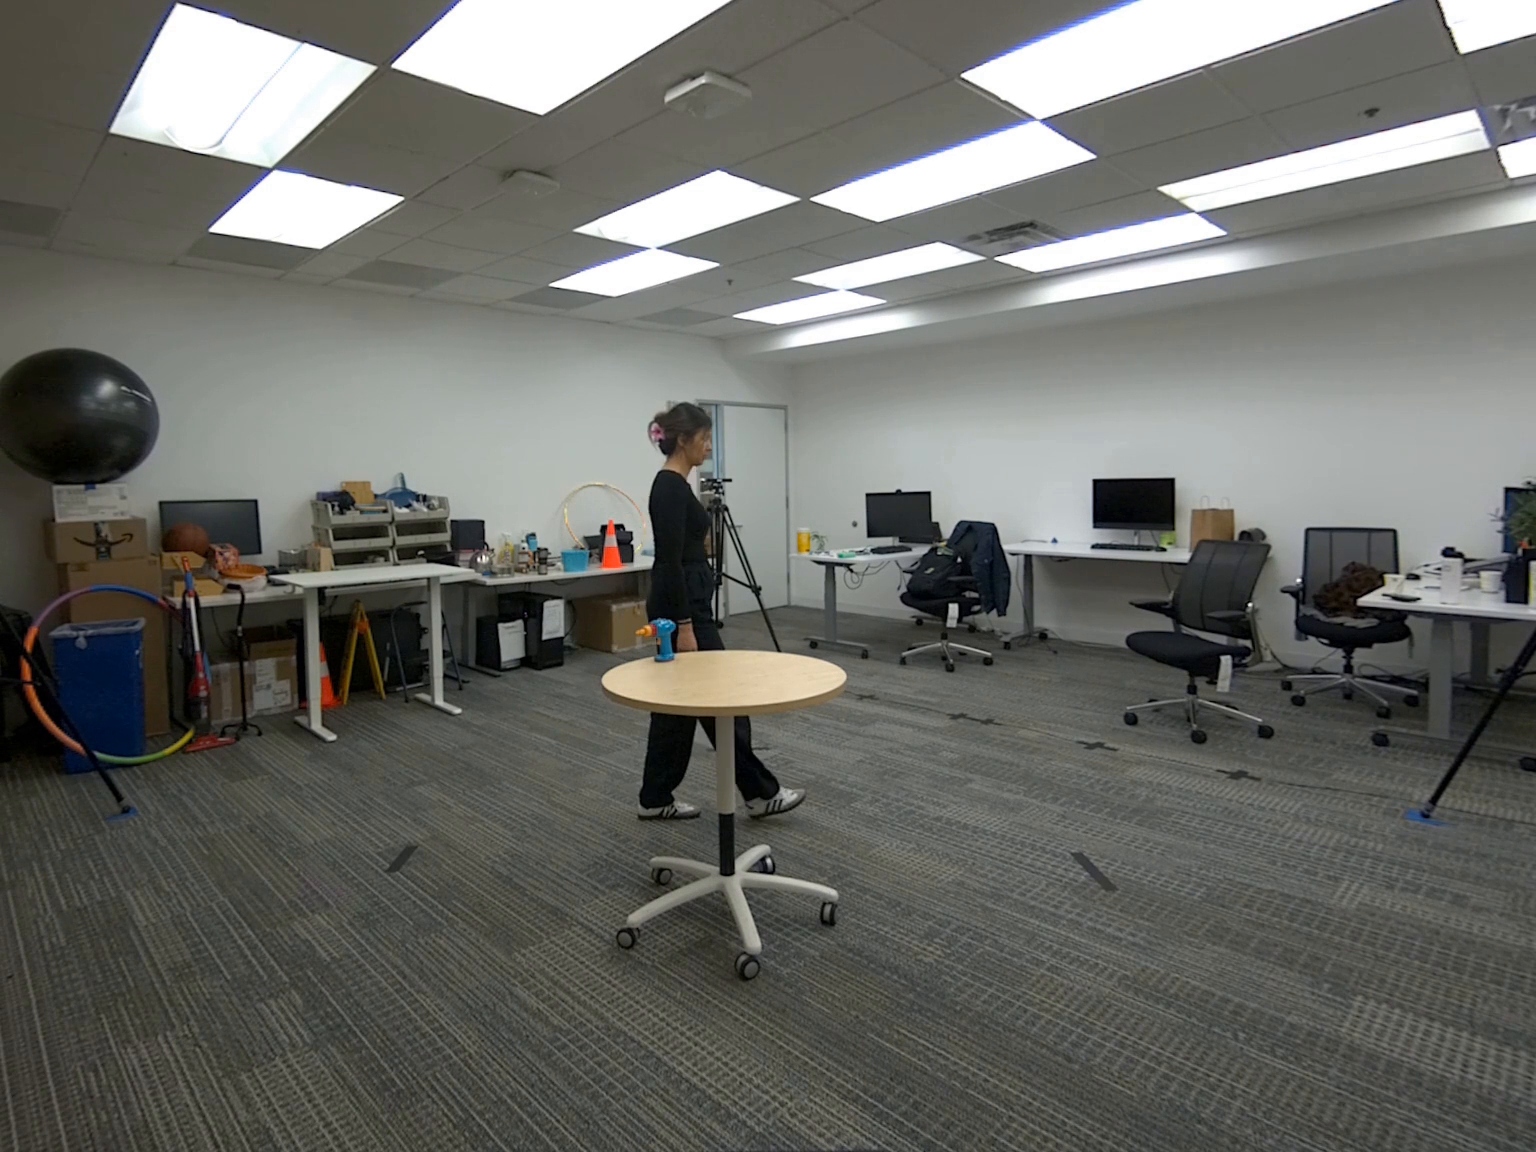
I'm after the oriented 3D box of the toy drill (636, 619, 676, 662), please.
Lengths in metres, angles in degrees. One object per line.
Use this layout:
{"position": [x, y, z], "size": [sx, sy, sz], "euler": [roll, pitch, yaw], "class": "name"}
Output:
{"position": [-0.378, 0.221, 2.888], "size": [0.063, 0.145, 0.165], "euler": [3, 6, 37], "class": "toy drill"}
